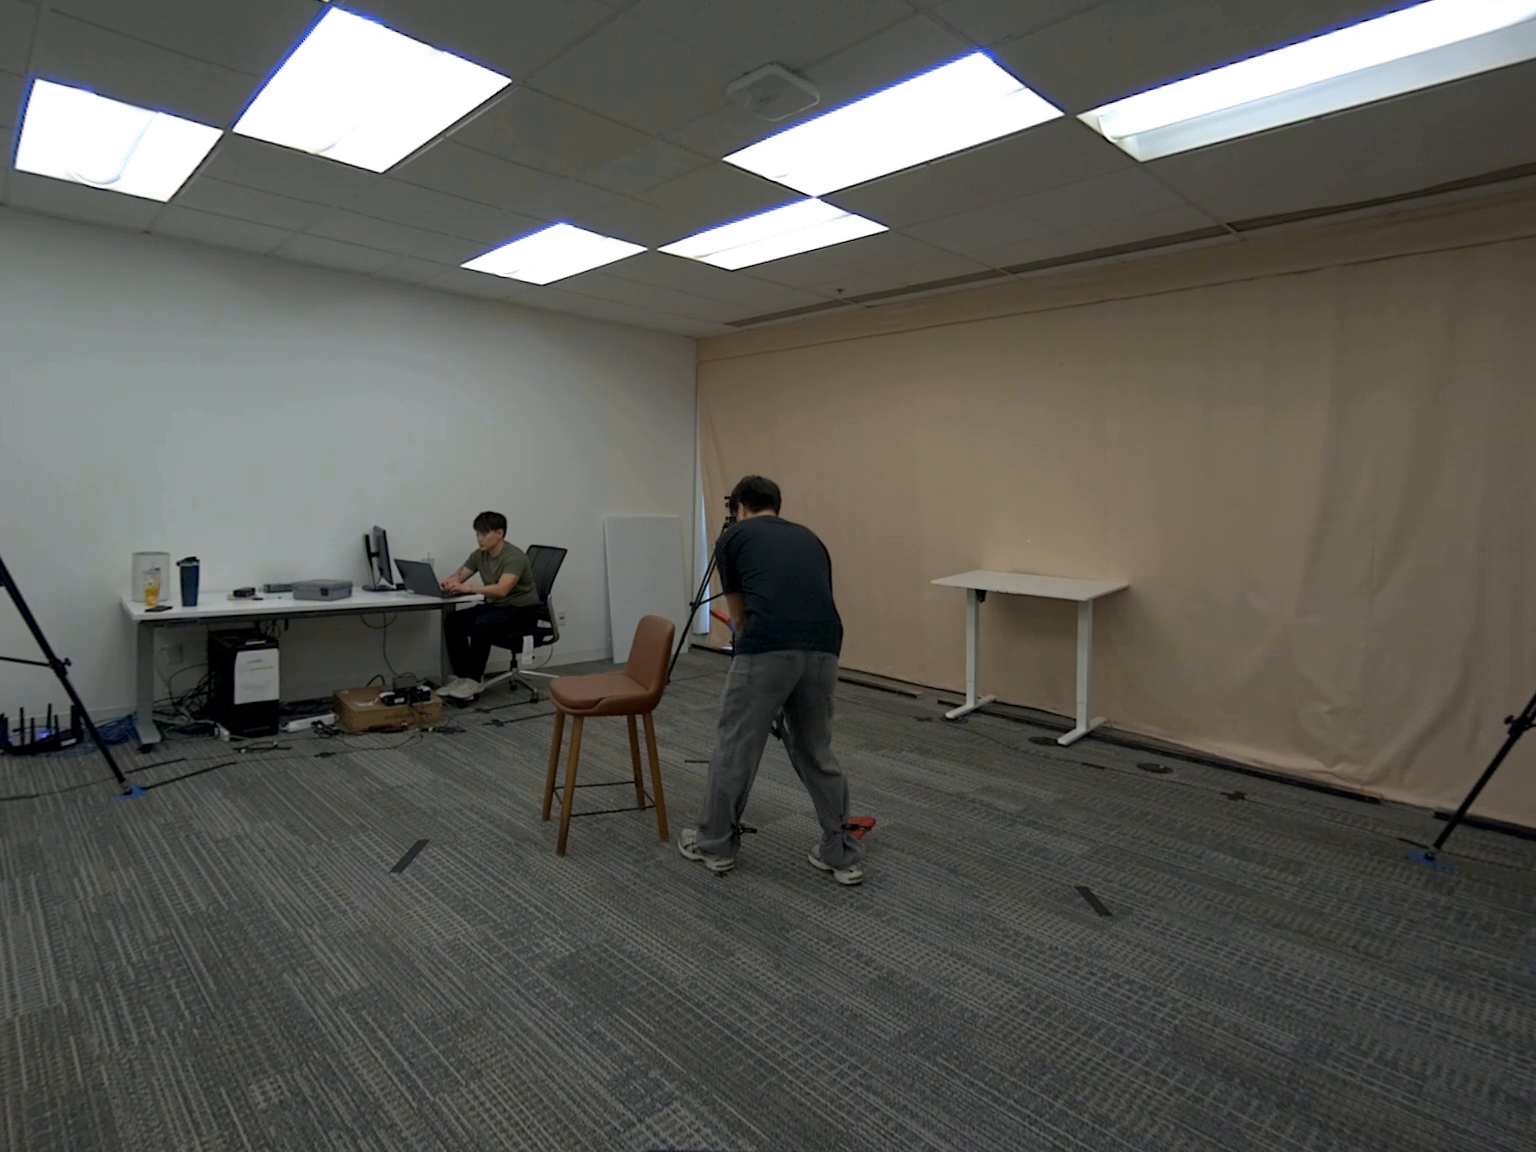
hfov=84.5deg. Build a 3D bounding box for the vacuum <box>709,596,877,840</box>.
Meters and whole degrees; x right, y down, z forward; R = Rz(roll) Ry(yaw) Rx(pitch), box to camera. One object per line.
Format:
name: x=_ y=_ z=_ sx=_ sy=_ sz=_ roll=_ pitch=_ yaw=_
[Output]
vacuum: x=0.053 y=0.588 z=3.499 sx=0.144 sy=1.065 sz=0.248 roll=-38 pitch=-15 yaw=27
